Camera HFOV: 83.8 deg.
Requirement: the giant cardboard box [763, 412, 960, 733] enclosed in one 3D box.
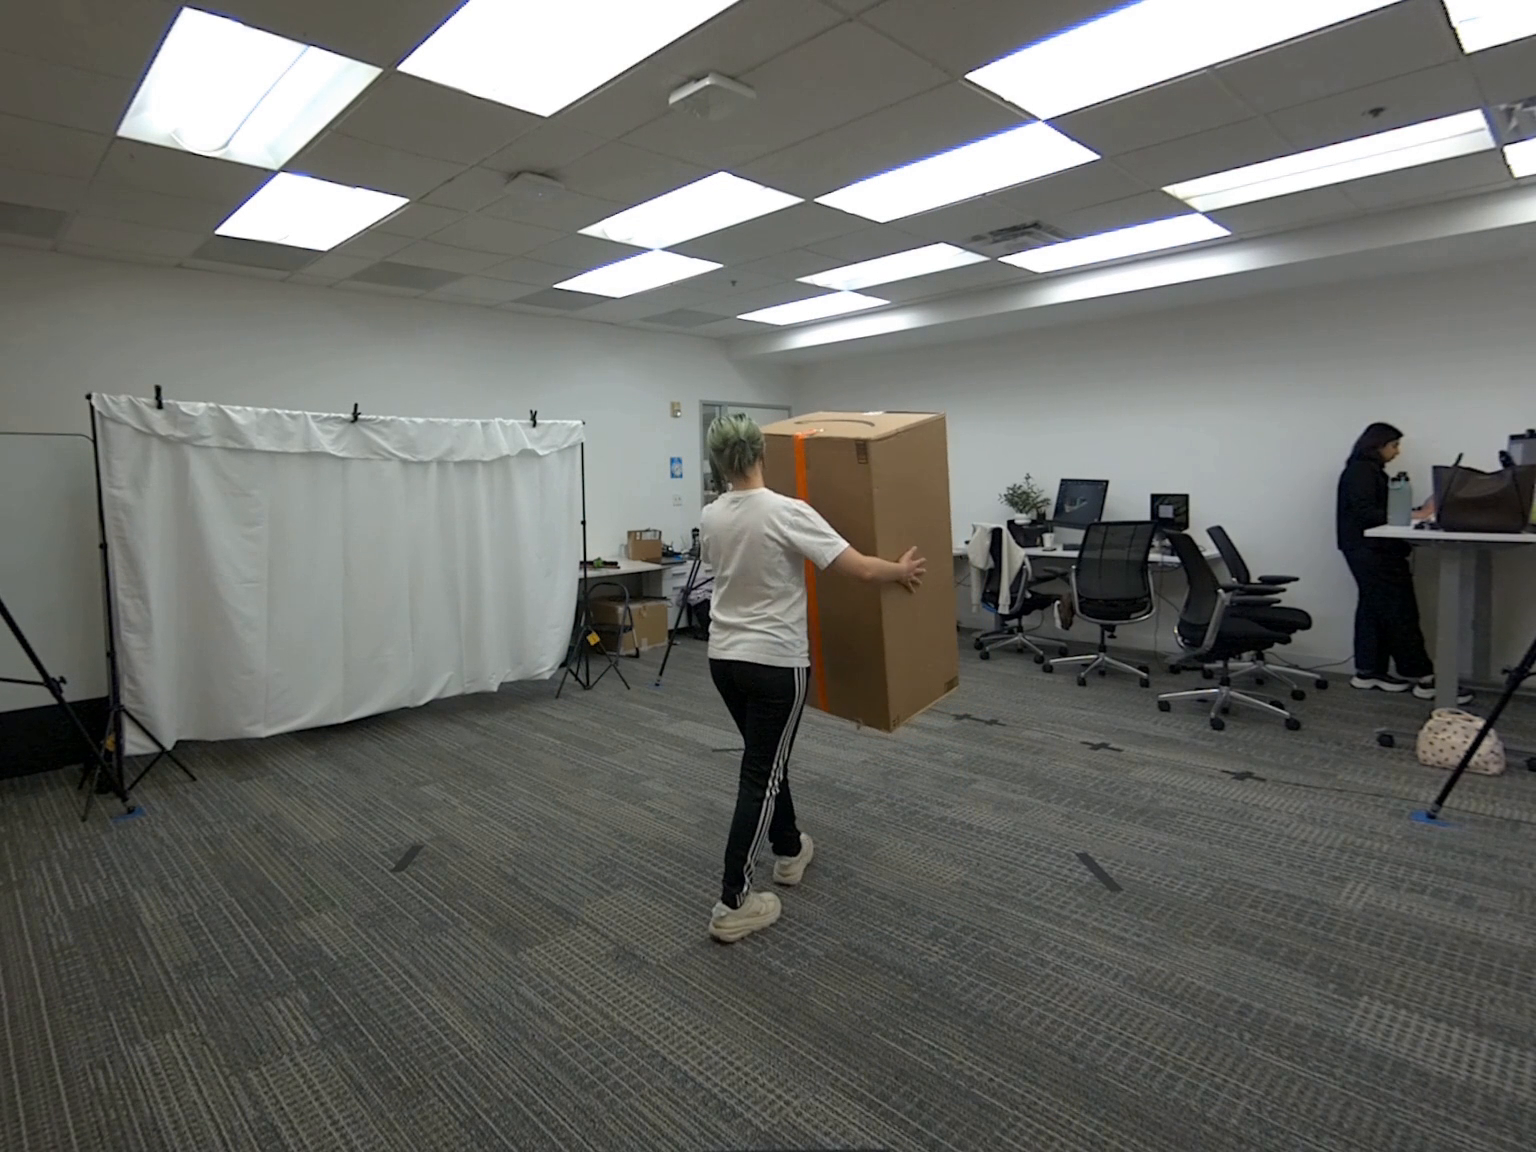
[{"bbox_3d":[0.308,-0.043,3.101,0.439,1.011,0.603,-21,21,-41],"label":"giant cardboard box"}]
